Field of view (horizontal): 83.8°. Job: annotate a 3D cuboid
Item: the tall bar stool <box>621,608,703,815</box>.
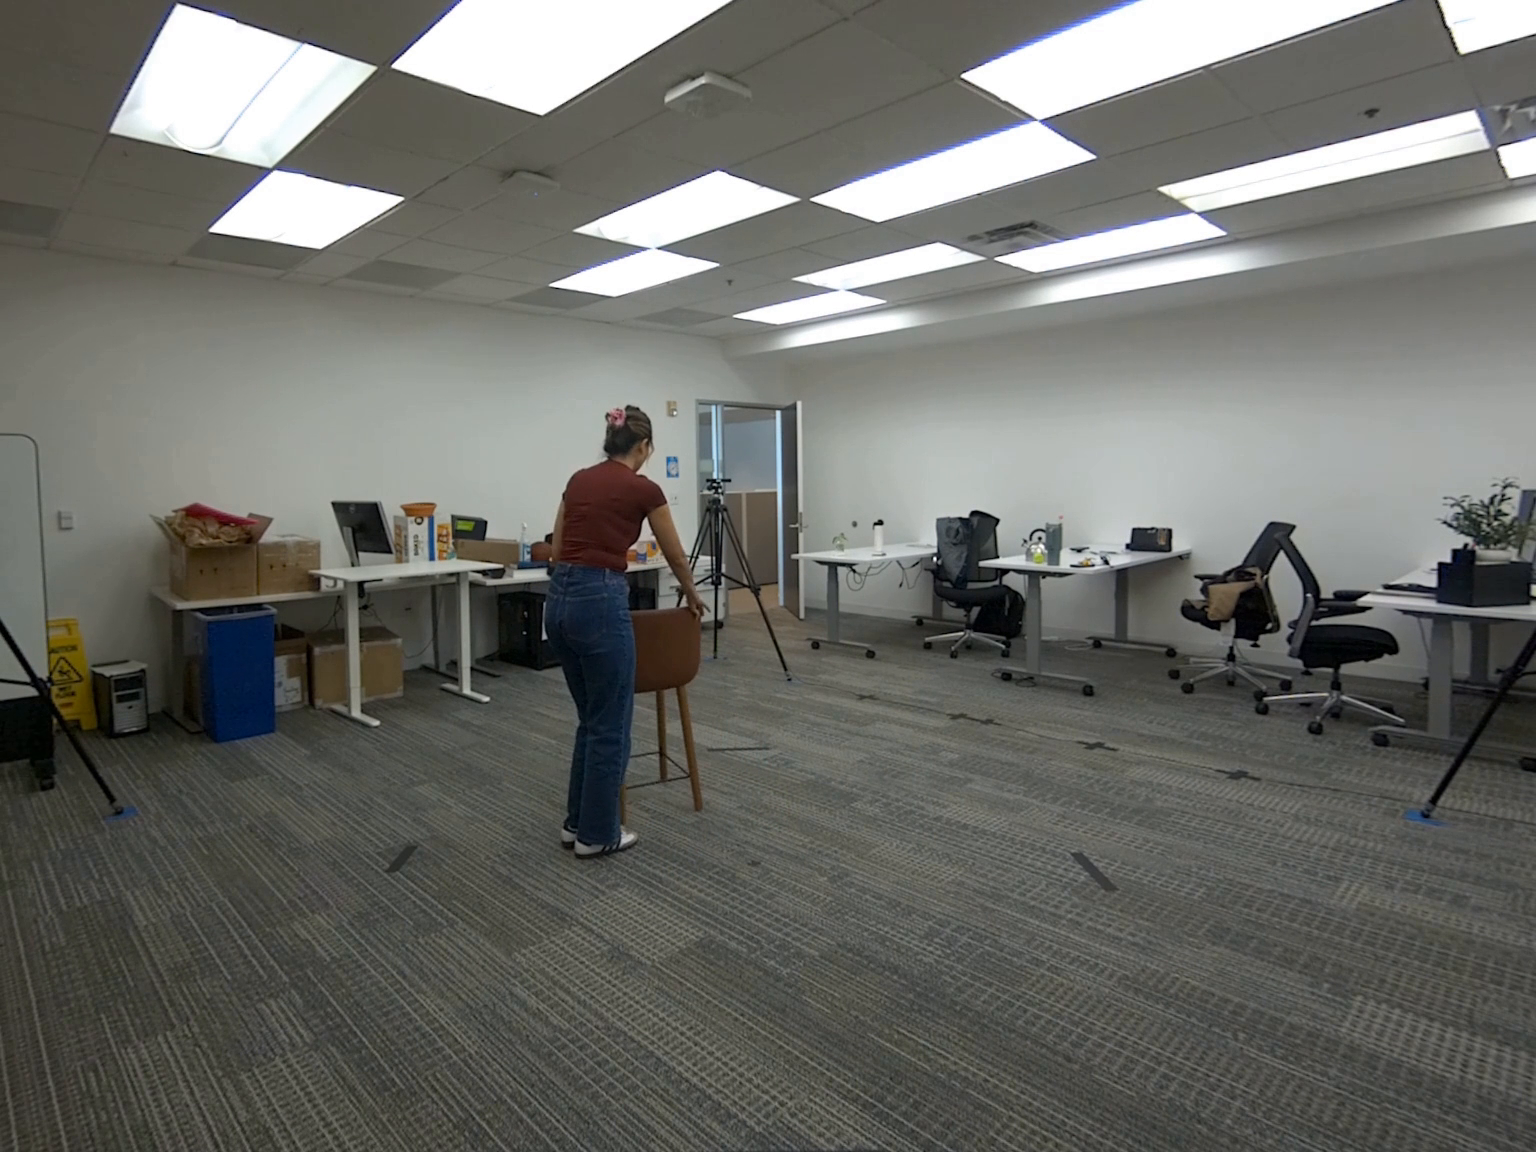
[{"bbox_3d":[-0.552,0.553,3.707,0.446,0.885,0.480,-4,6,-28],"label":"tall bar stool"}]
